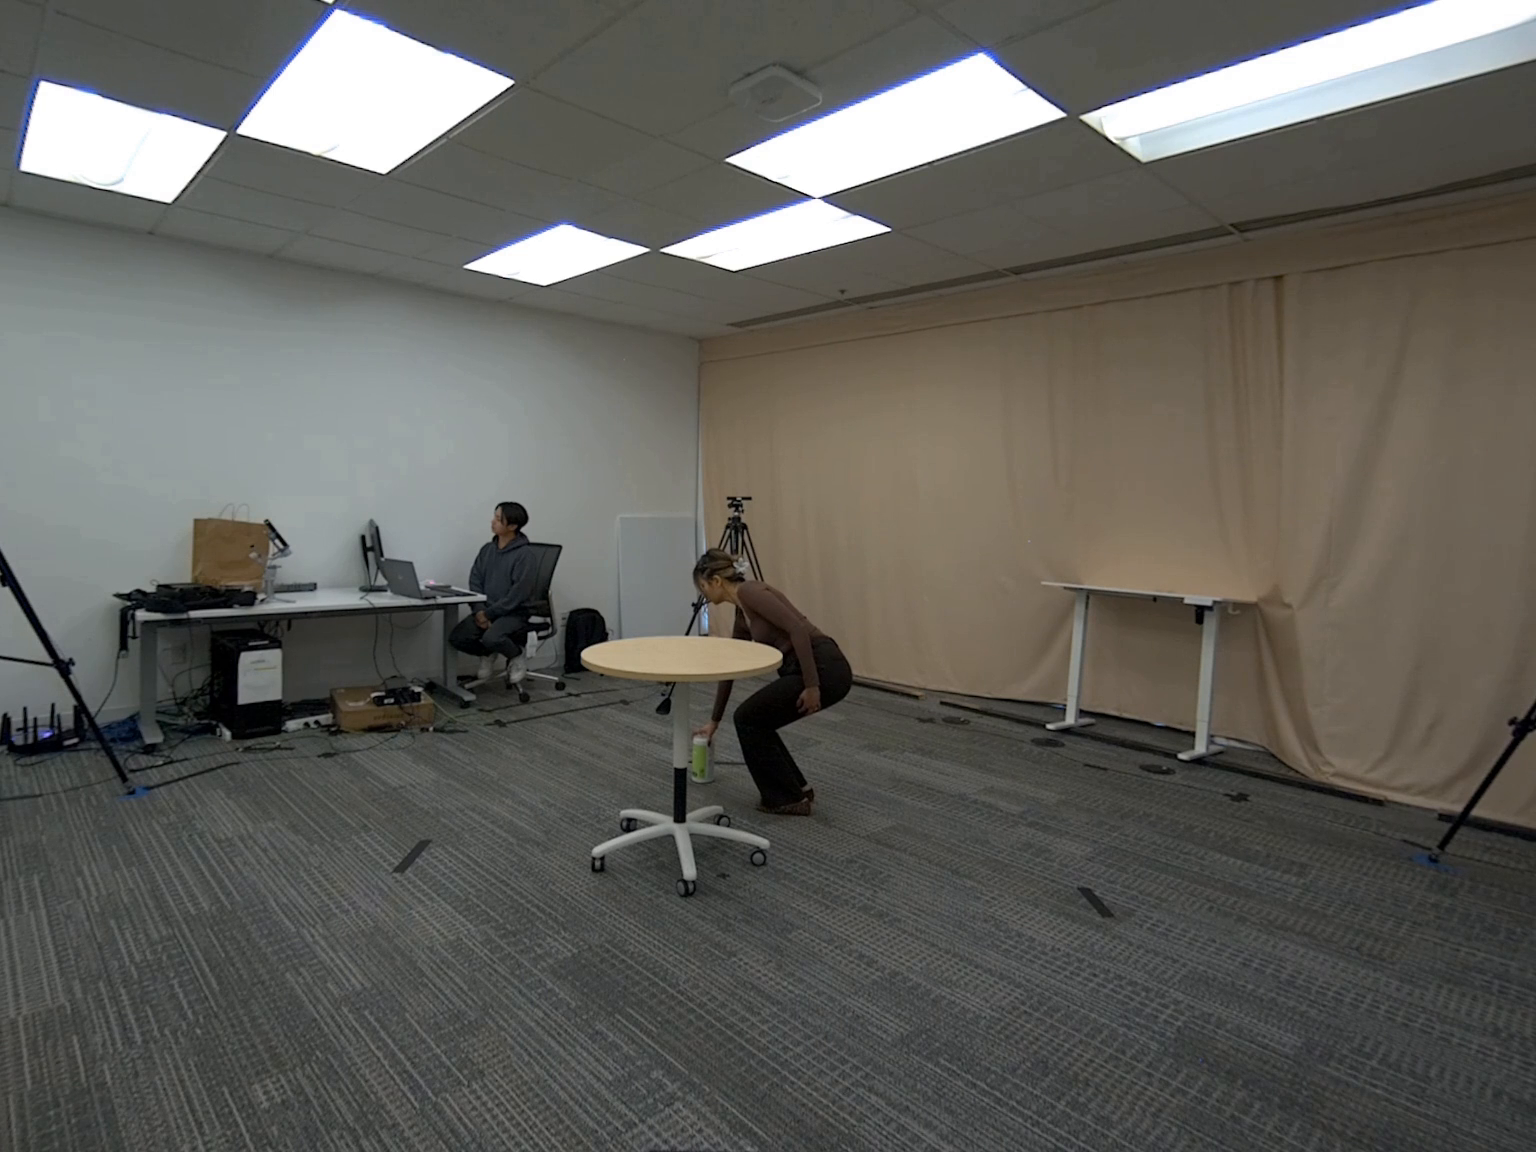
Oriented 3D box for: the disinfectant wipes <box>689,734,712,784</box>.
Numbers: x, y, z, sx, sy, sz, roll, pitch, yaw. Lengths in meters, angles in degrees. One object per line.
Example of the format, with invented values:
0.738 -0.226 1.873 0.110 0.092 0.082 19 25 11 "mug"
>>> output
-0.333 0.903 4.175 0.118 0.217 0.118 1 4 -1 "disinfectant wipes"
